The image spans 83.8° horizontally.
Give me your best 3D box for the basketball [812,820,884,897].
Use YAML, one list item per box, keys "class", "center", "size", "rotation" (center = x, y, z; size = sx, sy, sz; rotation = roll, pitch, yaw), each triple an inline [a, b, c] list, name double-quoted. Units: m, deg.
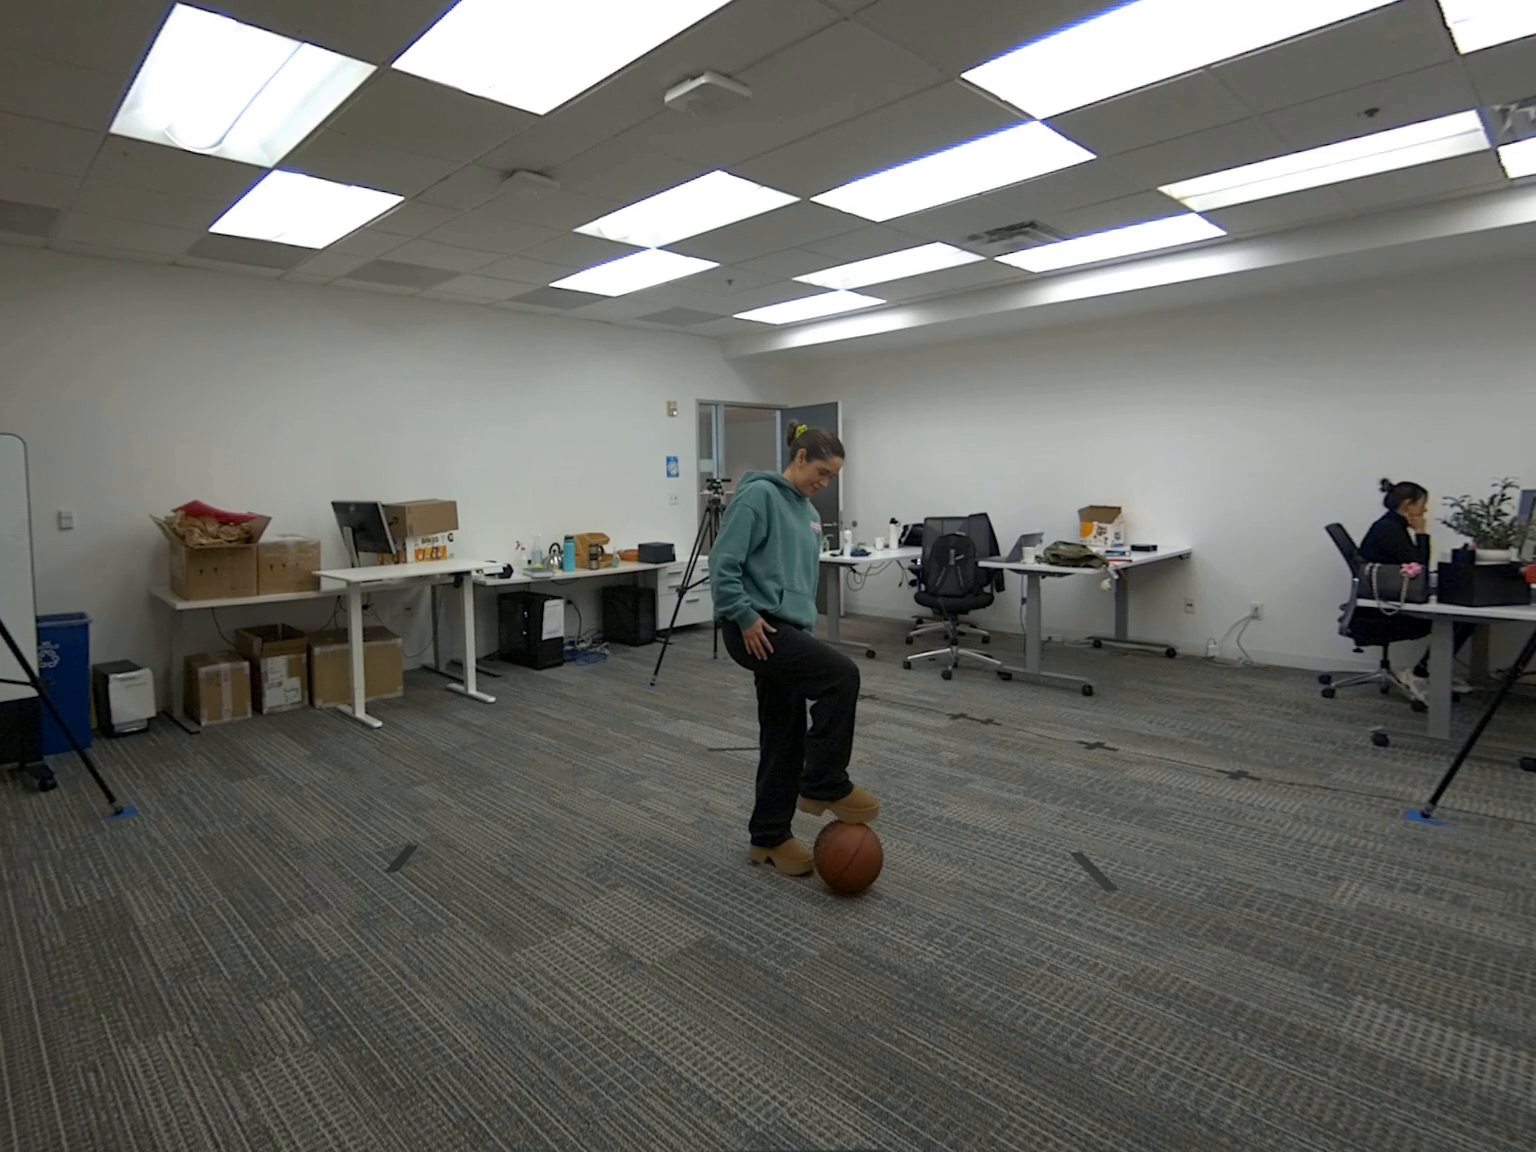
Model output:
- class: "basketball"
  center: [0.276, 0.945, 2.885]
  size: [0.236, 0.235, 0.237]
  rotation: [-1, 5, -2]
